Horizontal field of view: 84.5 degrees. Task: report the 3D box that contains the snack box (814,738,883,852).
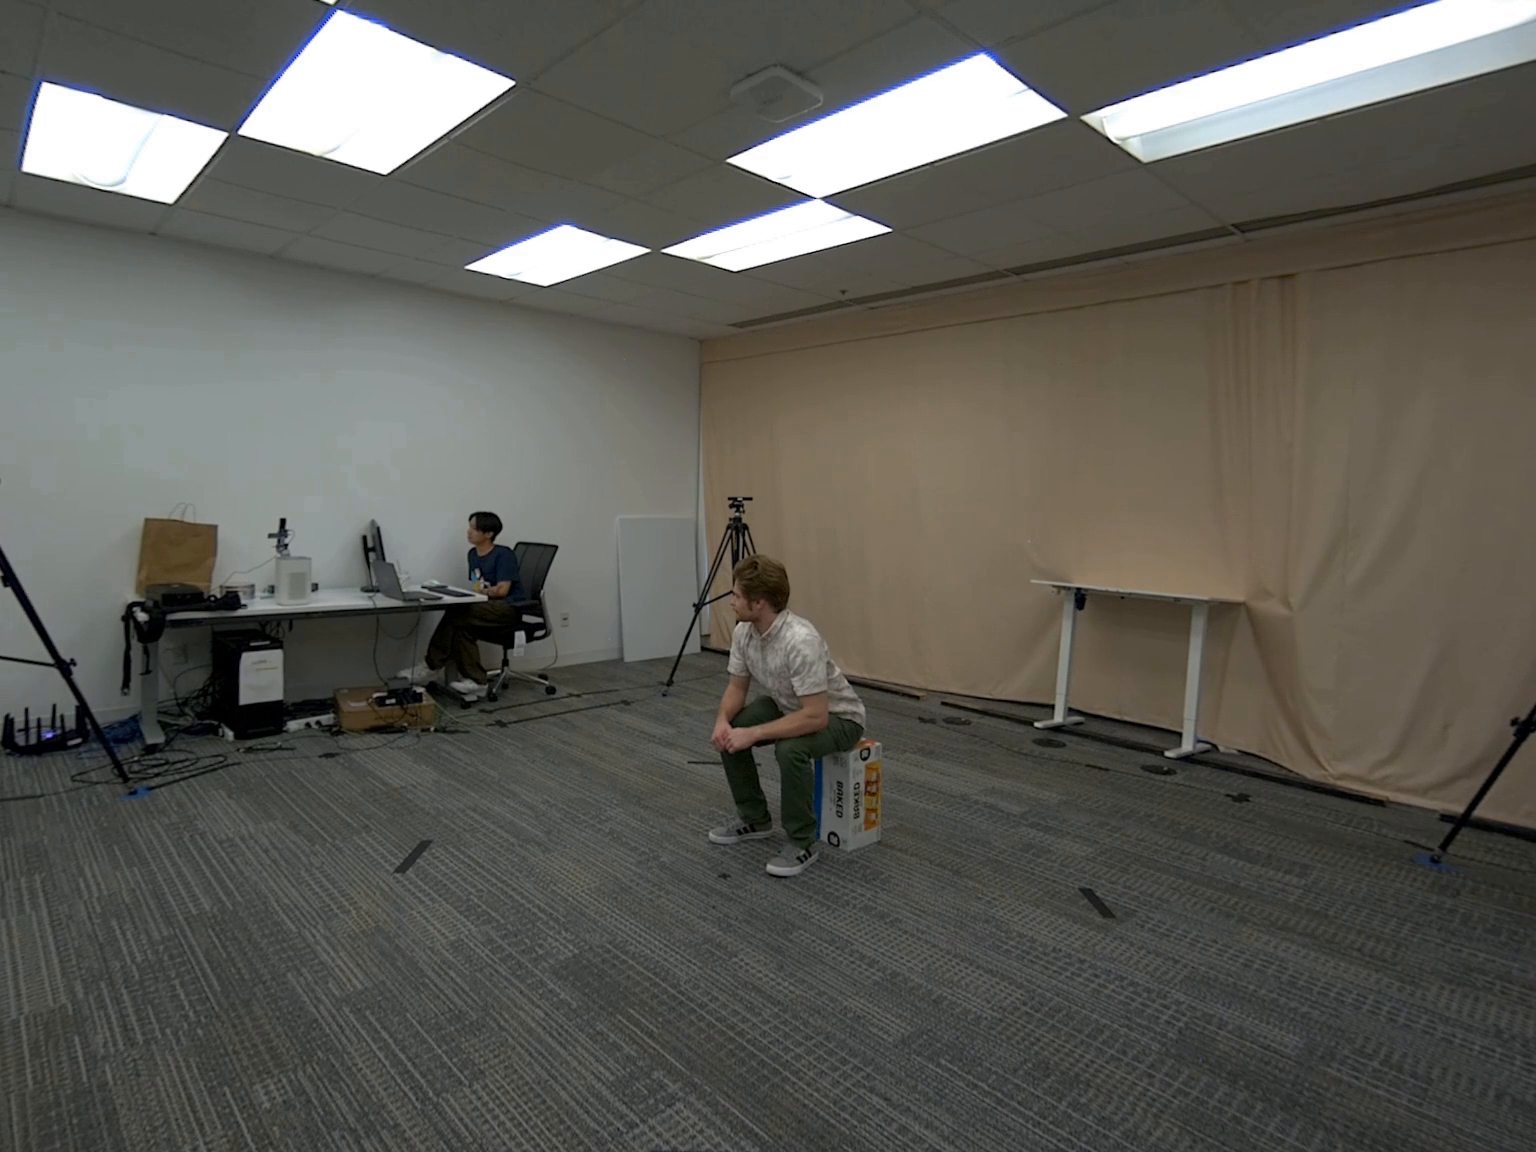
[{"bbox_3d":[0.276,0.881,3.535,0.201,0.404,0.349,-3,5,-41],"label":"snack box"}]
